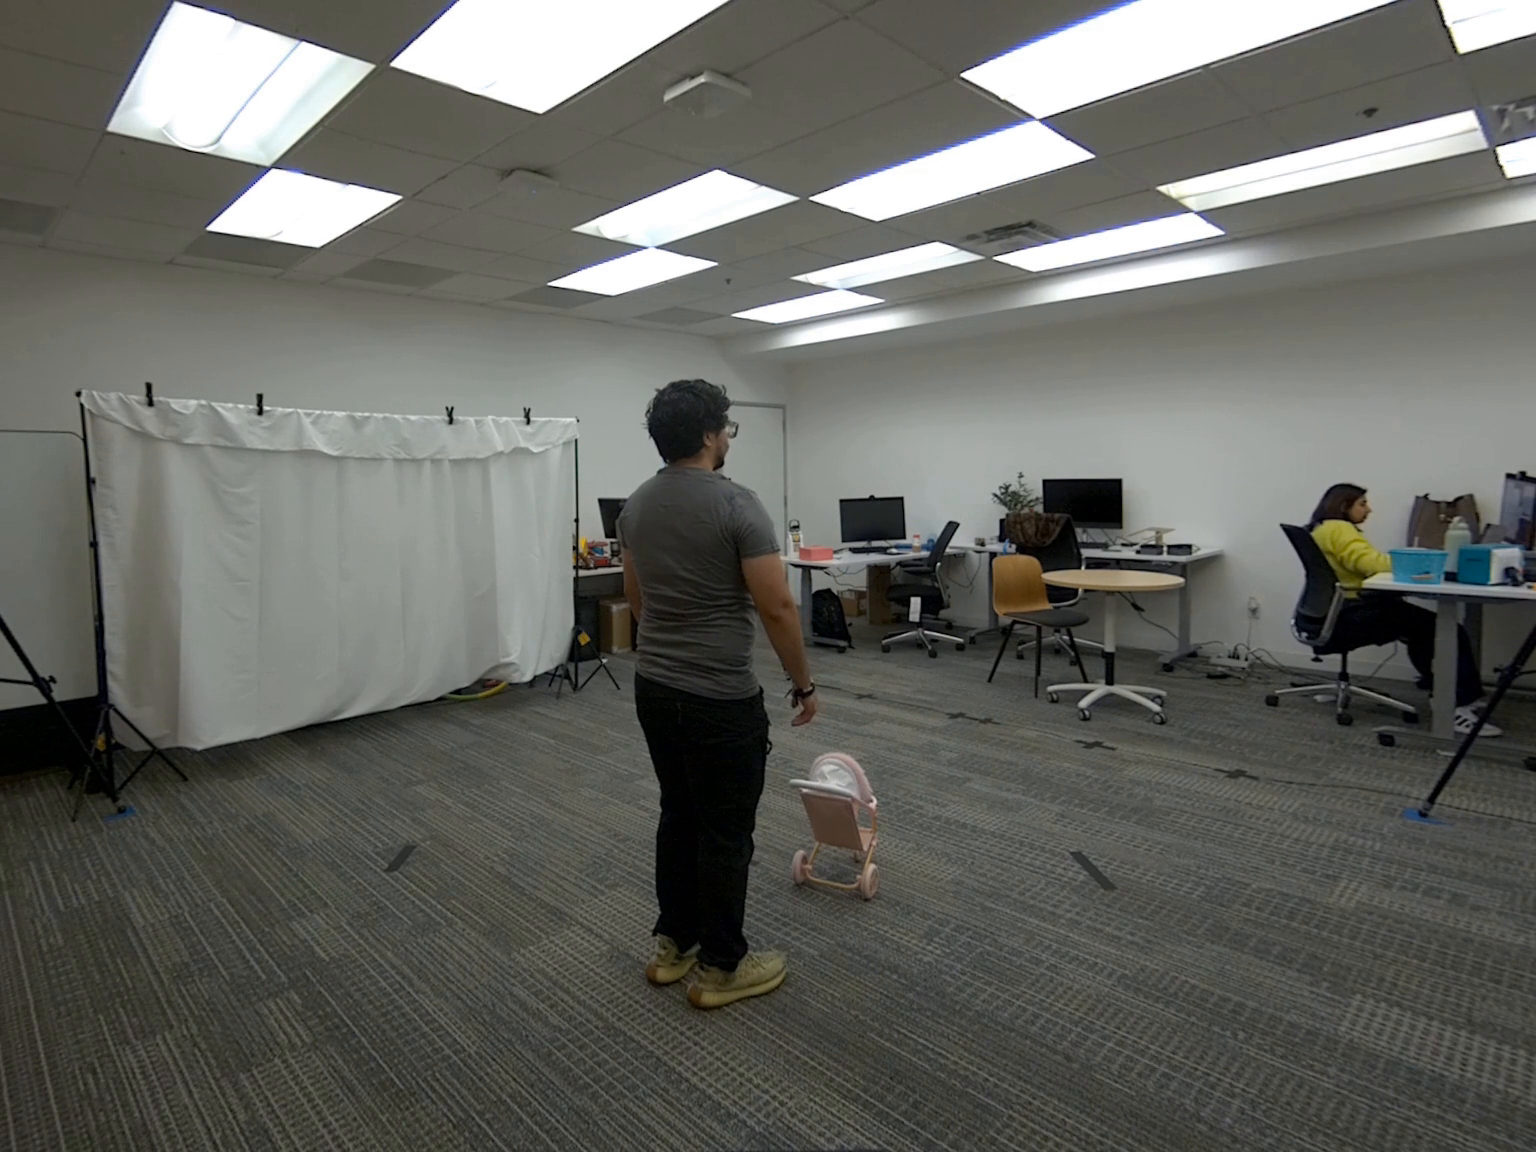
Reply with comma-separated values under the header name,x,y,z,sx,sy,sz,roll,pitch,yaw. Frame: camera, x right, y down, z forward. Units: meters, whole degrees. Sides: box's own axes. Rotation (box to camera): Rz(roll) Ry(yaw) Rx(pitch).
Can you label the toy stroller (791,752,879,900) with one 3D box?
name,x,y,z,sx,sy,sz,roll,pitch,yaw
toy stroller,0.255,0.839,2.930,0.289,0.525,0.339,2,23,30
